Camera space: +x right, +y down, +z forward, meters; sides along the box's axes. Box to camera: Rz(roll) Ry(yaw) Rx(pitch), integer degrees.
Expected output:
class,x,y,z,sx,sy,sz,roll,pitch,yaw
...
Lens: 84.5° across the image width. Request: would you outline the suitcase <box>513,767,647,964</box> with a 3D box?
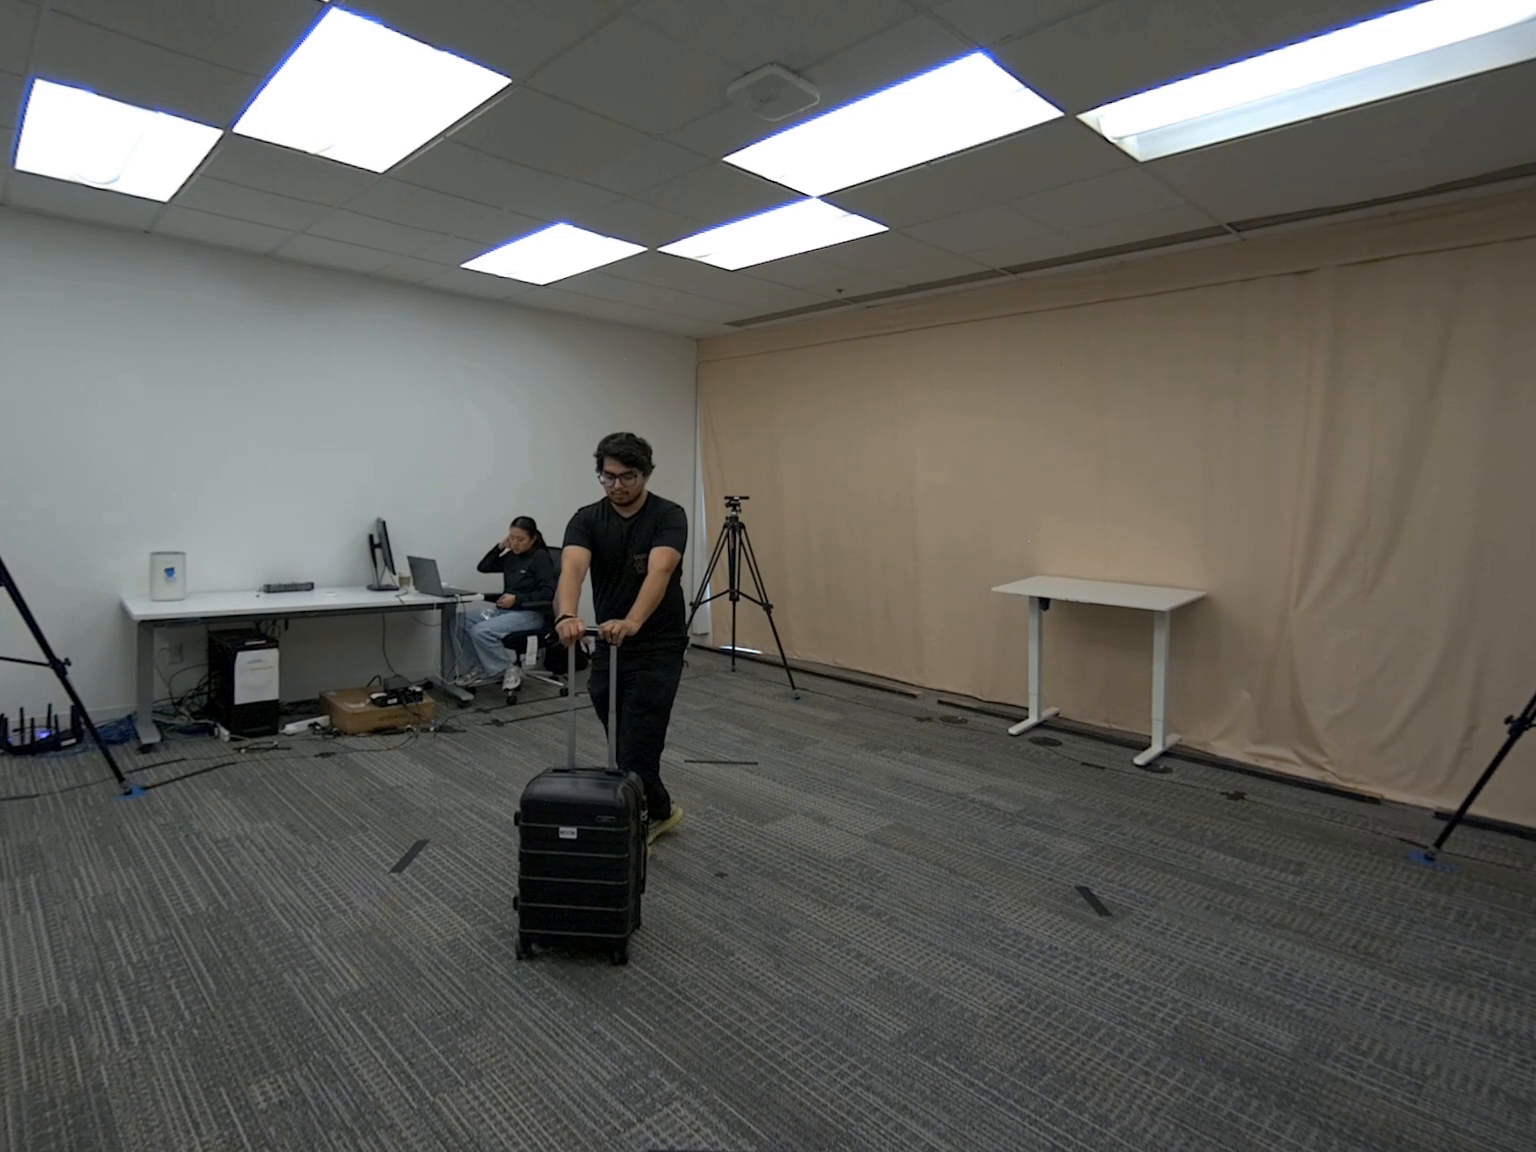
class,x,y,z,sx,sy,sz,roll,pitch,yaw
suitcase,-0.570,0.682,2.540,0.385,0.971,0.258,2,10,4
